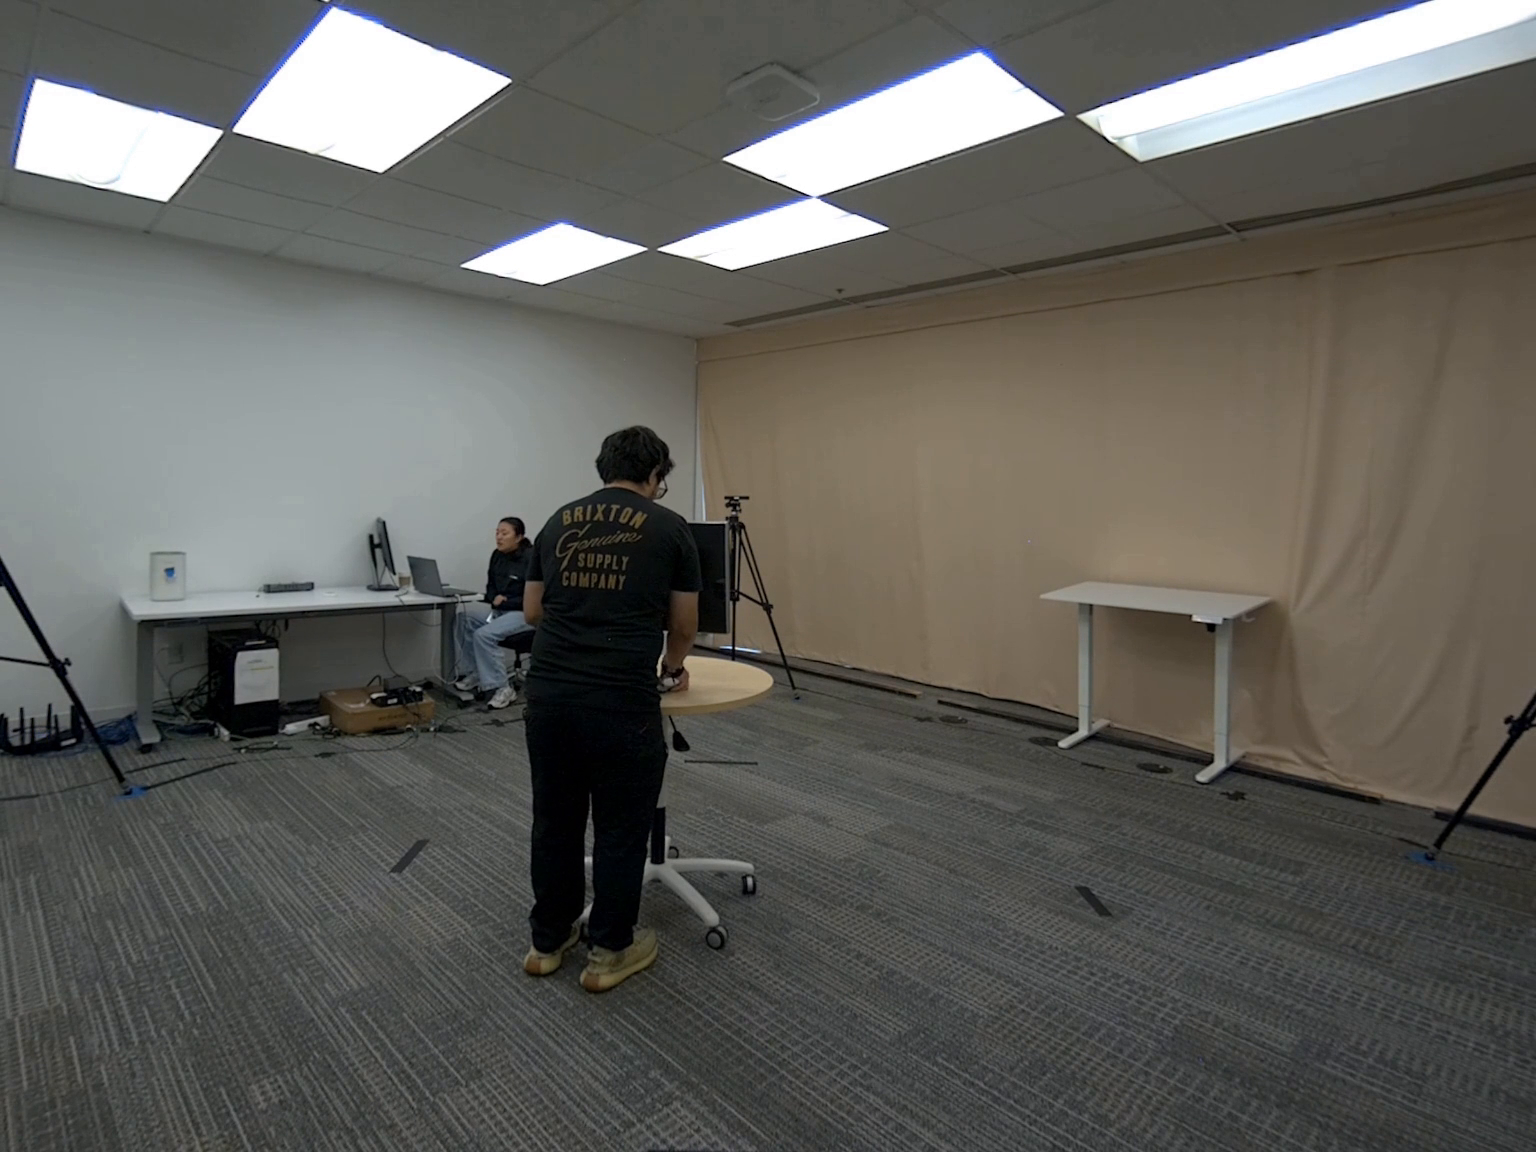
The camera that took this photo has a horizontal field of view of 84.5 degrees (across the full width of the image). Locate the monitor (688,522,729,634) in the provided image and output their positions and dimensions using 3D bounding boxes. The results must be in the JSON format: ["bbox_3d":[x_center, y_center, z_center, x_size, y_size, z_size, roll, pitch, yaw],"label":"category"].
[{"bbox_3d":[-0.413,0.097,2.701,0.573,0.552,0.208,2,6,17],"label":"monitor"}]
